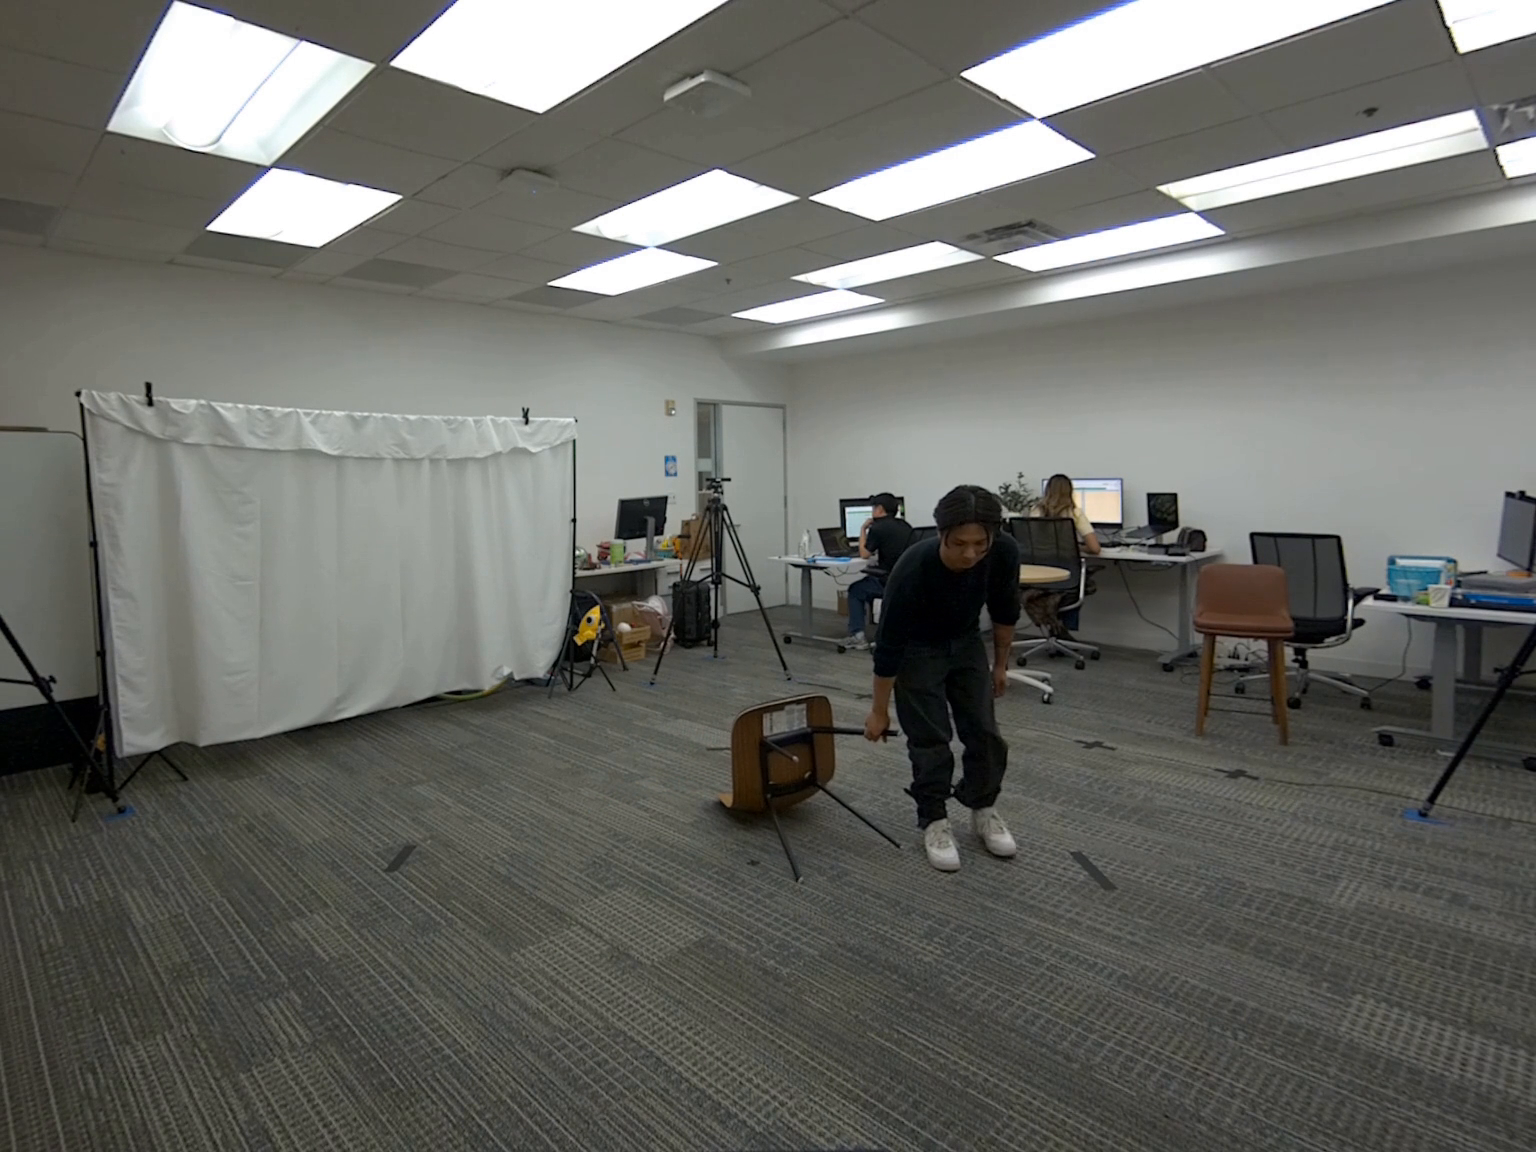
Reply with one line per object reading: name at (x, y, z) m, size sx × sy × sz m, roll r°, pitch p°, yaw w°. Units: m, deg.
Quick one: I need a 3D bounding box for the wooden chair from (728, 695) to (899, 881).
wooden chair at (0.093, 0.745, 3.384) m, size 0.468 × 0.521 × 0.899 m, roll -6°, pitch 6°, yaw -27°
